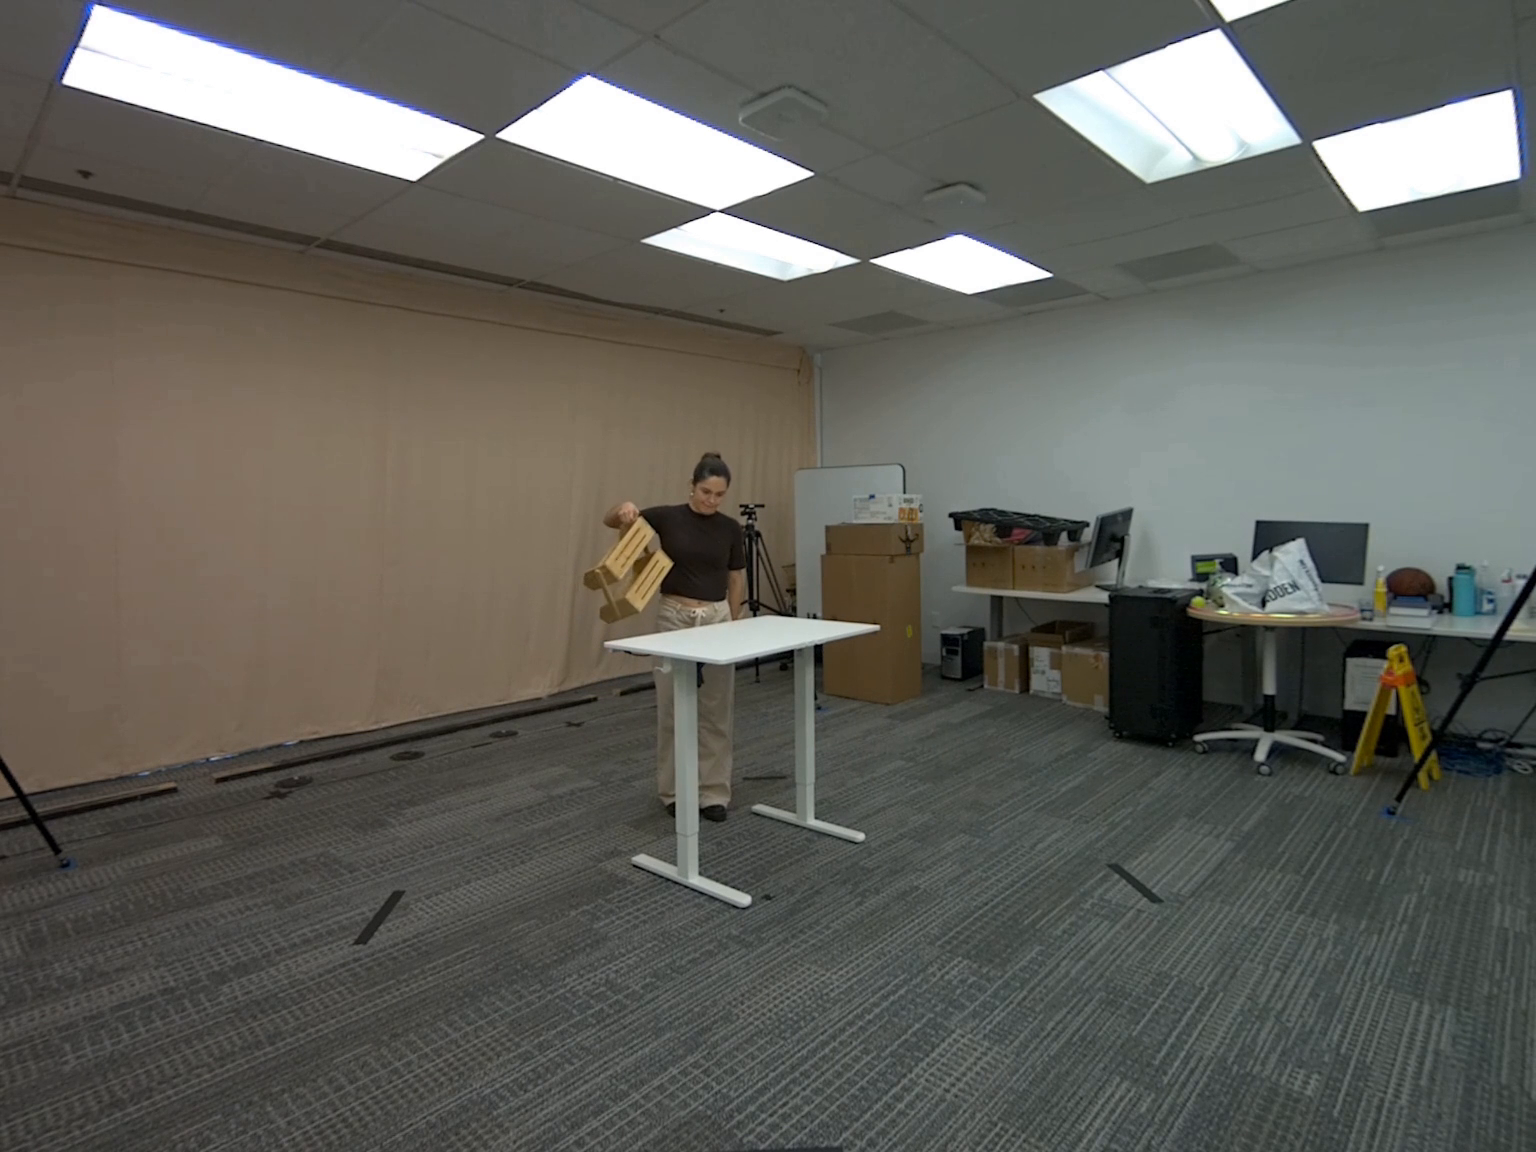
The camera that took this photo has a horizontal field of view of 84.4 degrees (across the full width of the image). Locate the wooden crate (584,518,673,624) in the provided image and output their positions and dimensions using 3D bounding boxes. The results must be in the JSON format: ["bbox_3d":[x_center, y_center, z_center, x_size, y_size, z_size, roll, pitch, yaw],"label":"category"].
[{"bbox_3d":[-0.605,-0.022,3.537,0.309,0.267,0.324,-20,29,44],"label":"wooden crate"}]
